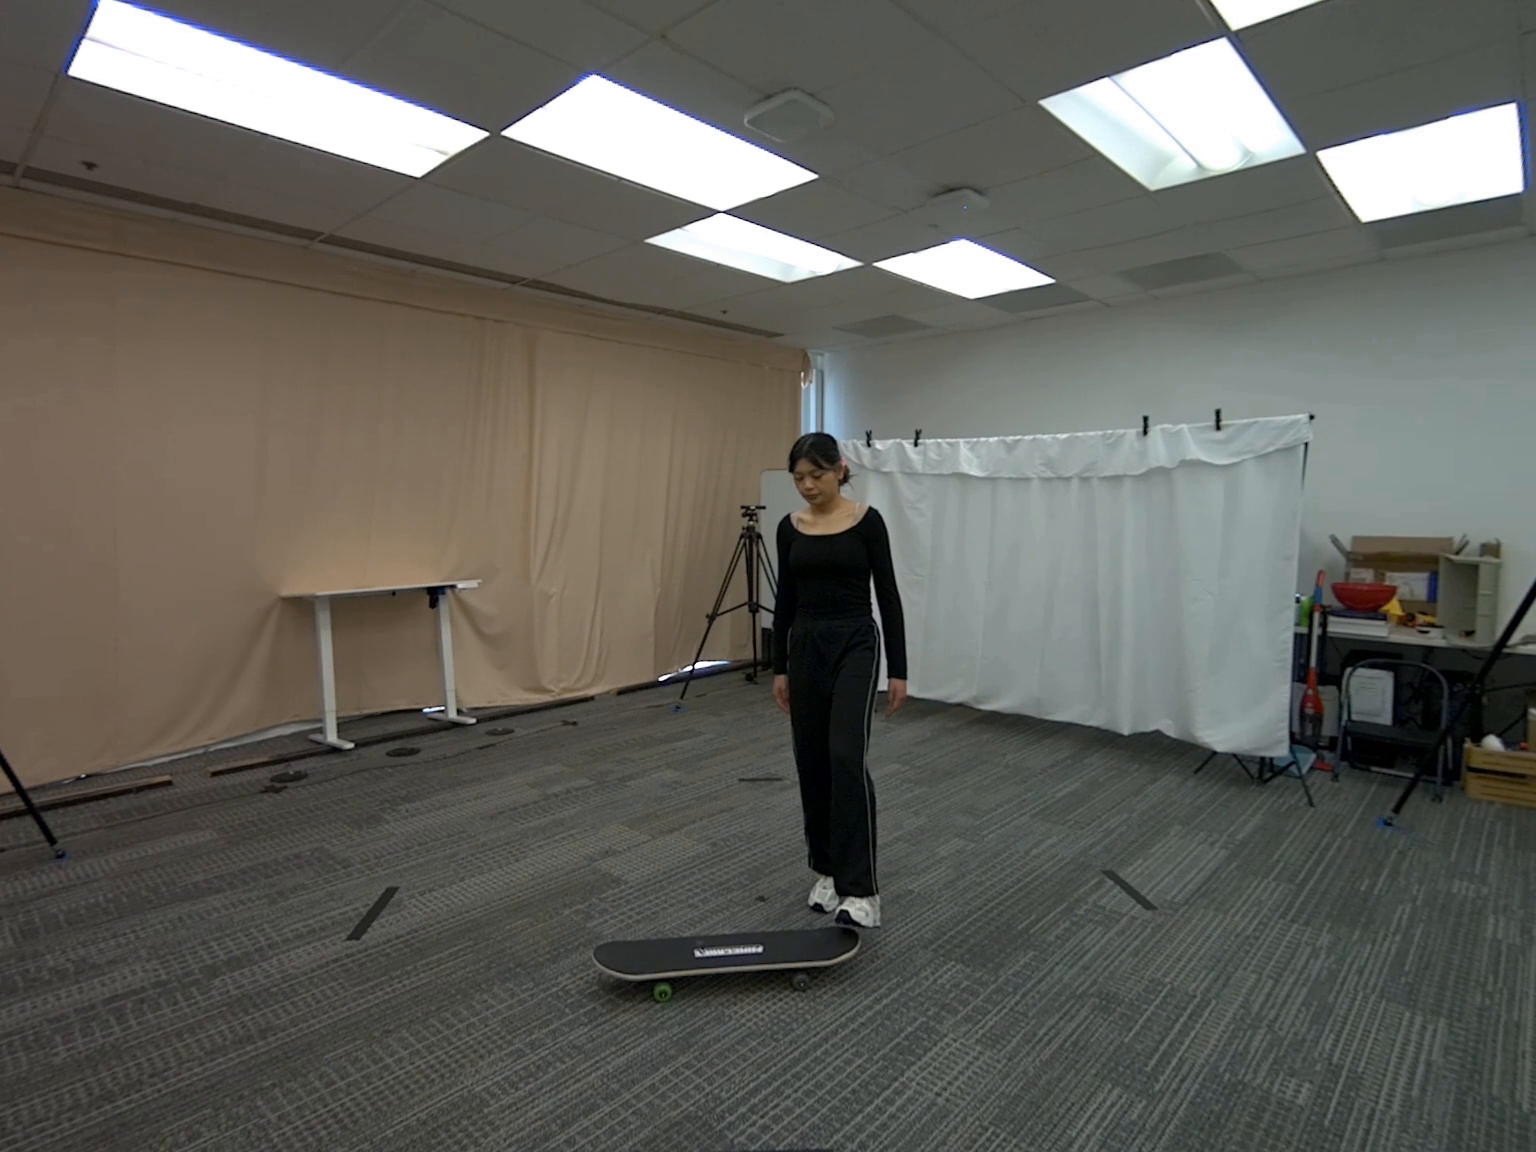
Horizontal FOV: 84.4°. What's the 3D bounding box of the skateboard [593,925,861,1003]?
[{"bbox_3d":[-0.114,1.137,2.461,0.780,0.110,0.195,0,3,-6],"label":"skateboard"}]
